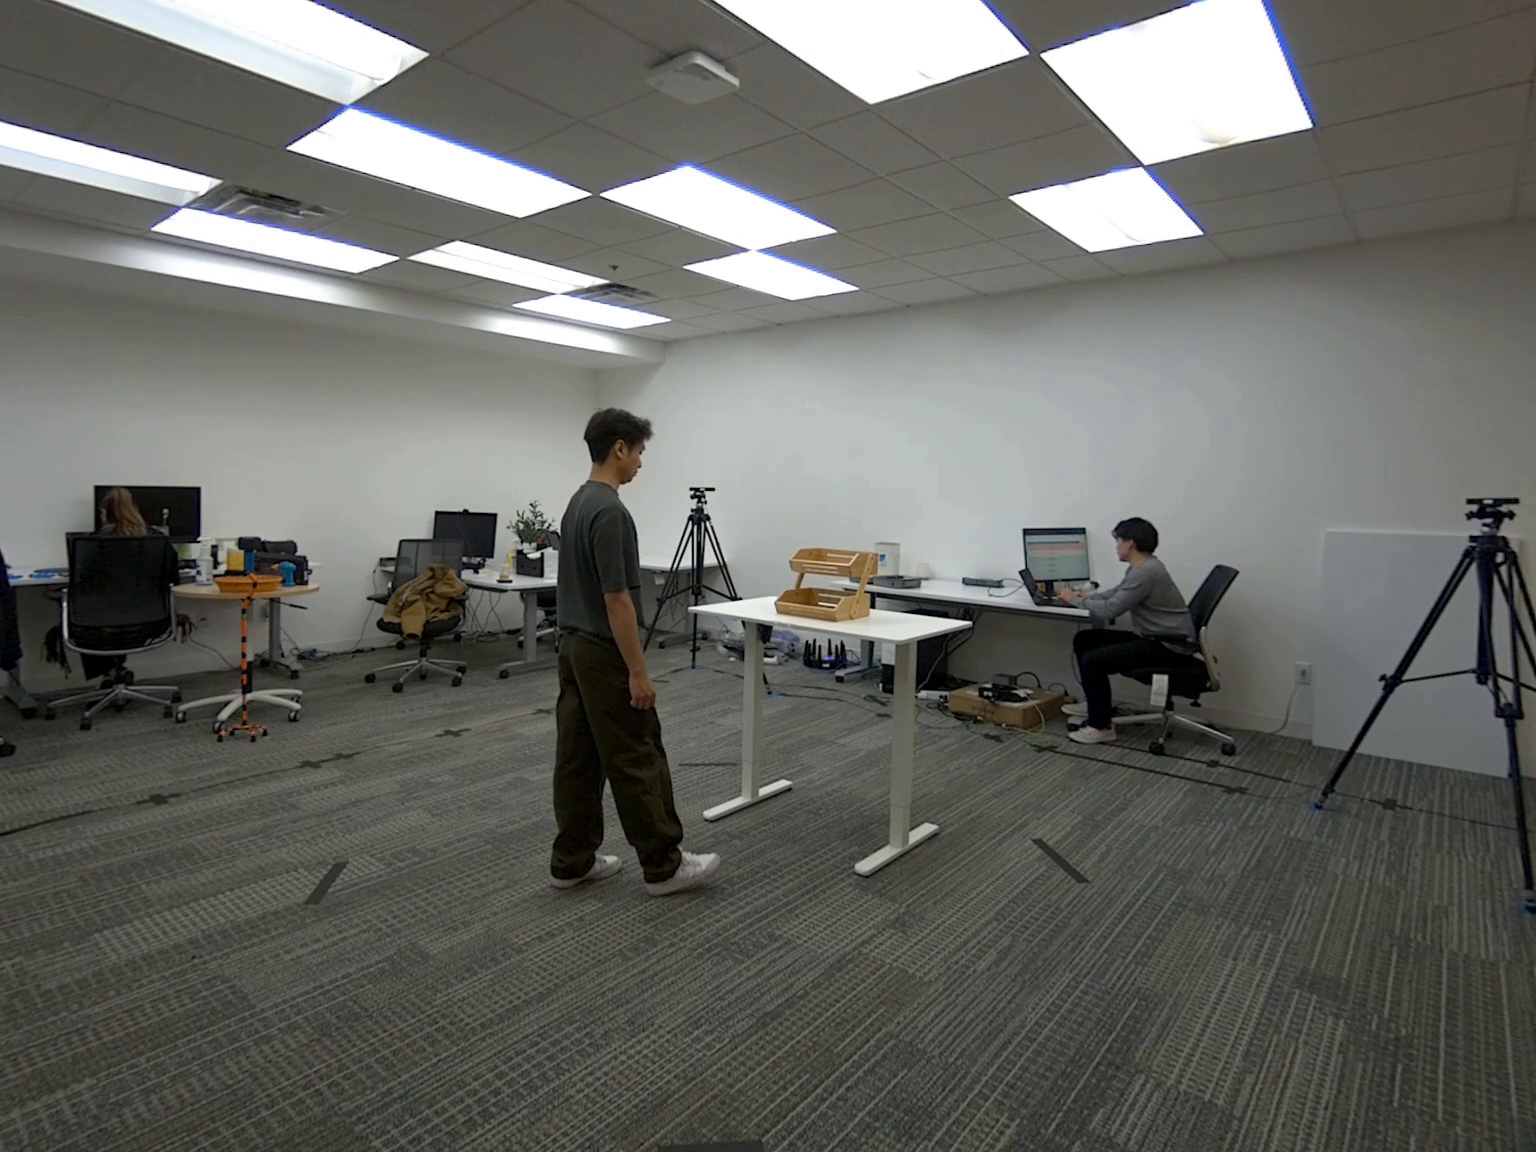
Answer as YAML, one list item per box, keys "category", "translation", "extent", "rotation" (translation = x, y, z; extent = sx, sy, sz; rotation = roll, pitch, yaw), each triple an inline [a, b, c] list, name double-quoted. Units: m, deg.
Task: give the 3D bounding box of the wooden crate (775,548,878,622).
- category: "wooden crate"
  translation: [0.230, 0.021, 3.497]
  extent: [0.335, 0.272, 0.293]
  rotation: [6, 6, 40]
